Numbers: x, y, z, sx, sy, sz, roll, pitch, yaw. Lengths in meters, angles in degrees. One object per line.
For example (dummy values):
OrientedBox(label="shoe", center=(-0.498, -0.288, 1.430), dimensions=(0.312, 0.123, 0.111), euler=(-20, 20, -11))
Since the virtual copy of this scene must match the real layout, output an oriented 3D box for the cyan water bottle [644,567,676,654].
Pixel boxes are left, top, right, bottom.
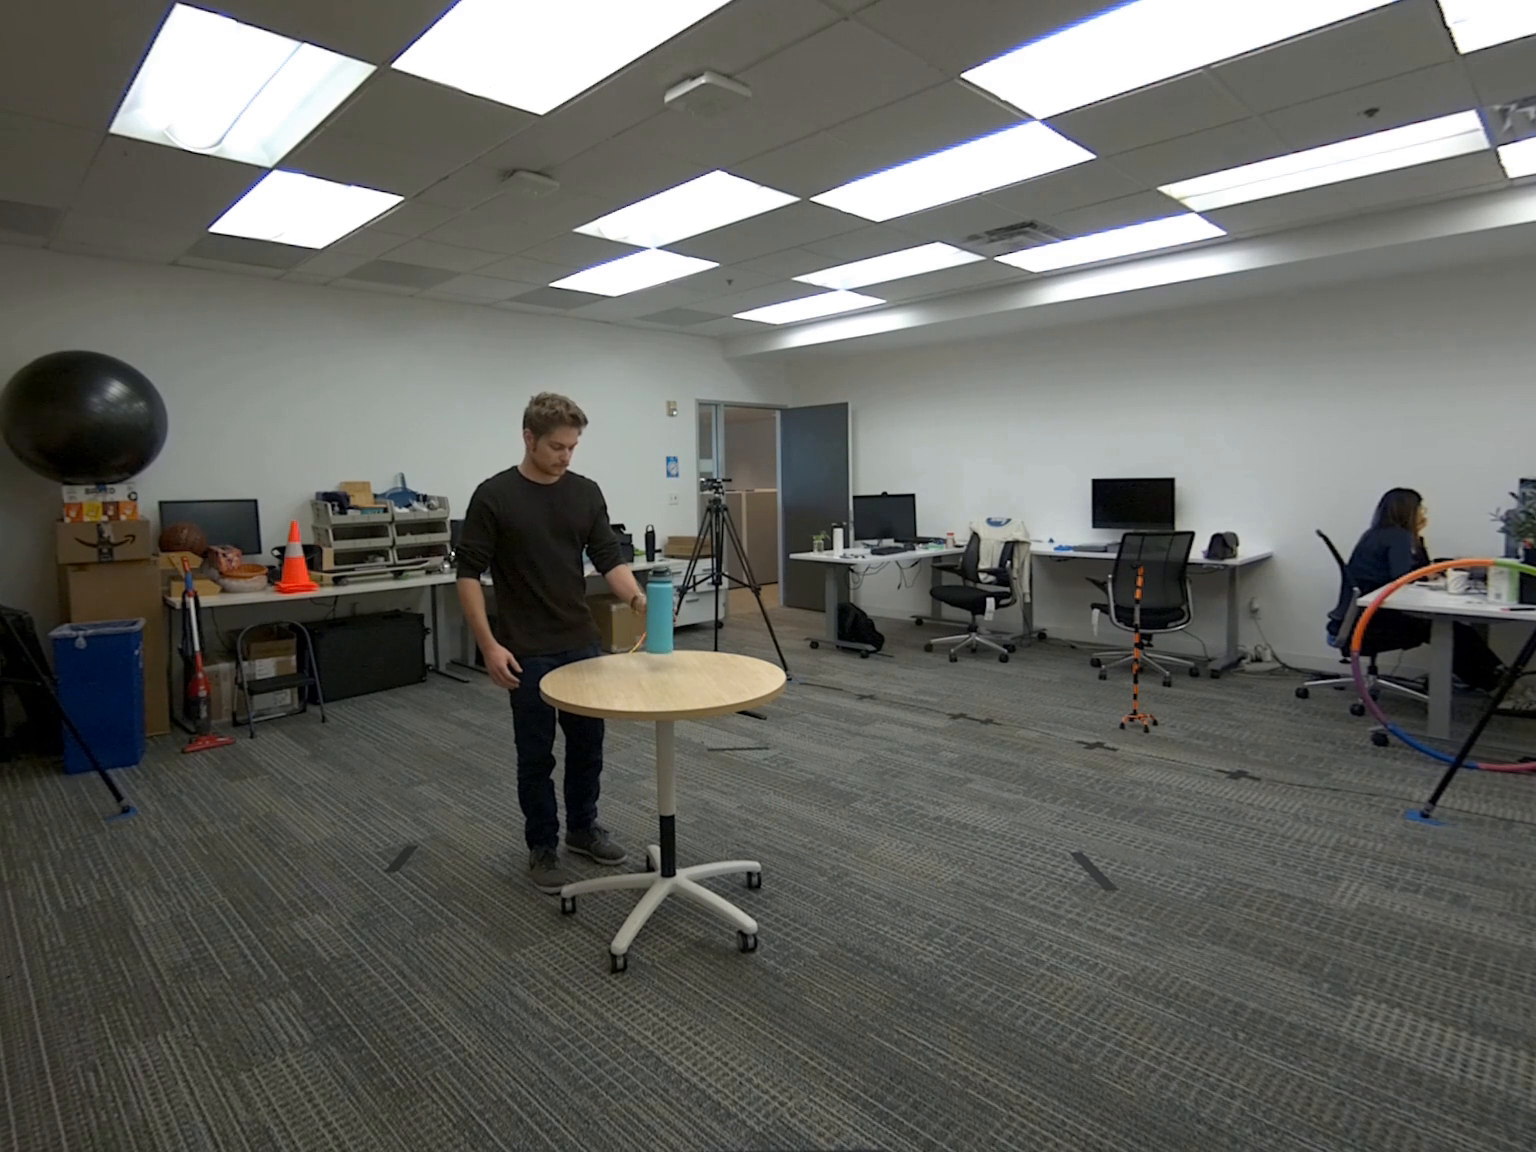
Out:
OrientedBox(label="cyan water bottle", center=(-0.357, 0.106, 2.767), dimensions=(0.092, 0.283, 0.092), euler=(1, 2, -2))
